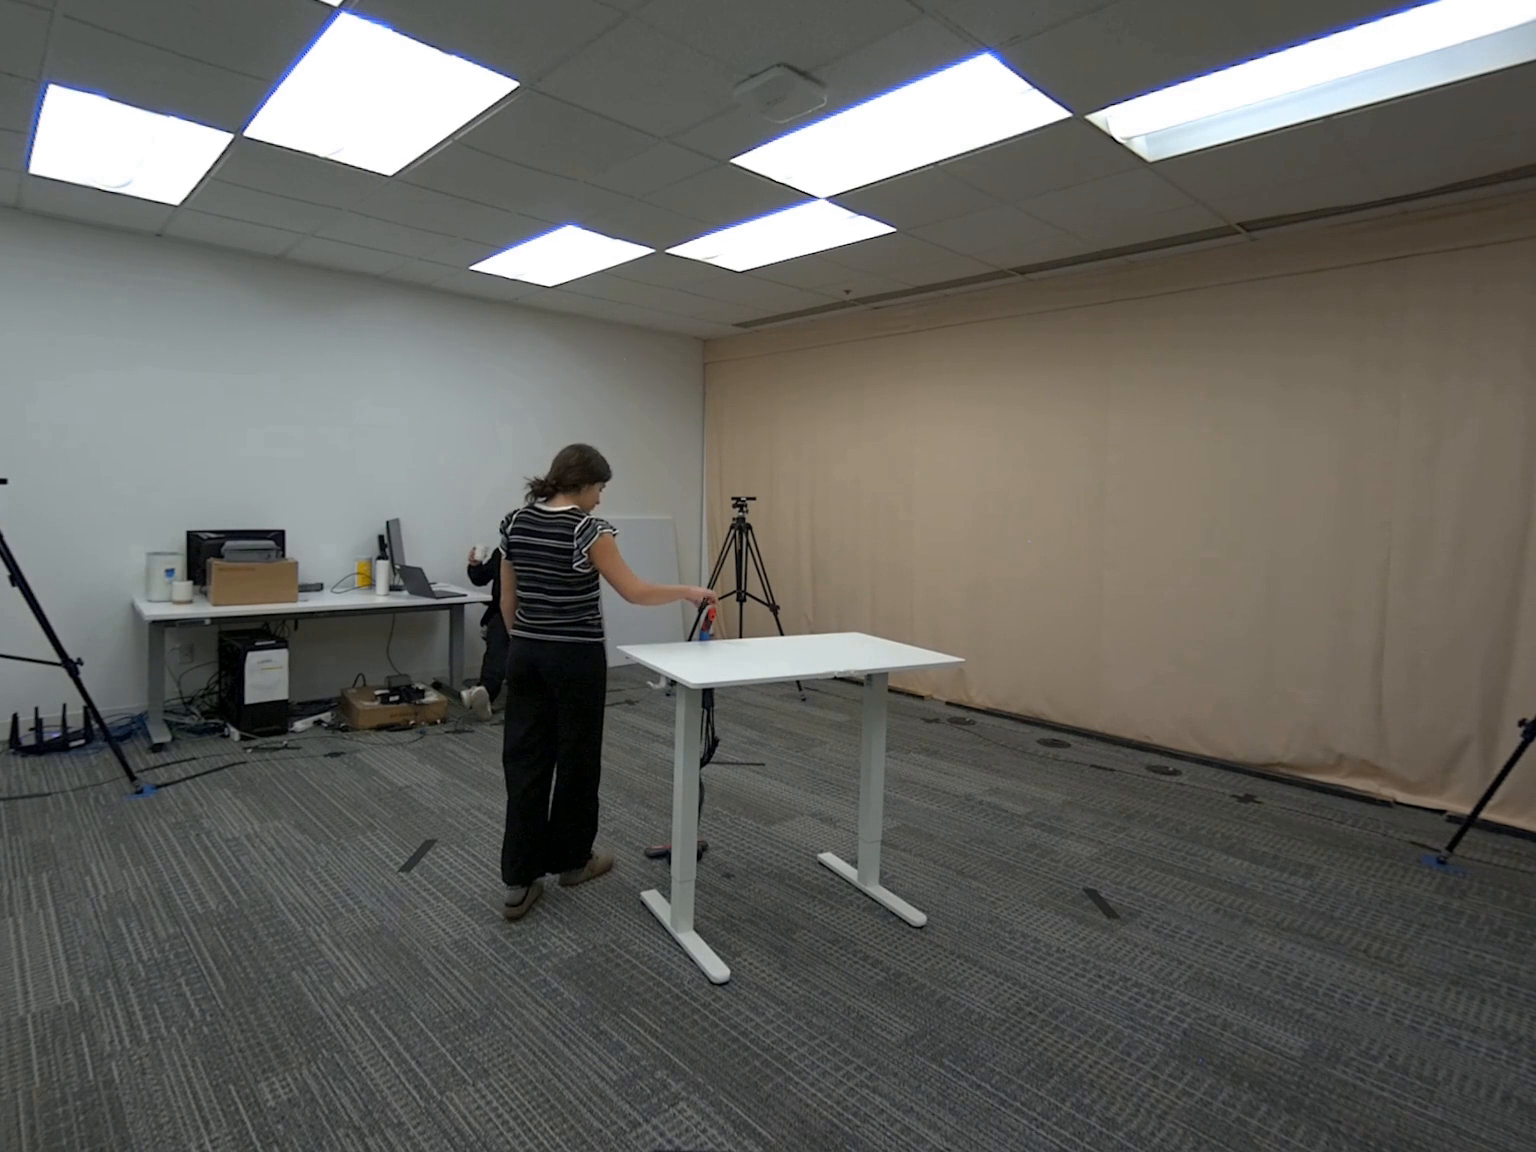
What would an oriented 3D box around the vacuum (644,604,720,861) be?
[{"bbox_3d":[-0.281,0.614,3.106,0.248,1.038,0.148,0,20,-23],"label":"vacuum"}]
